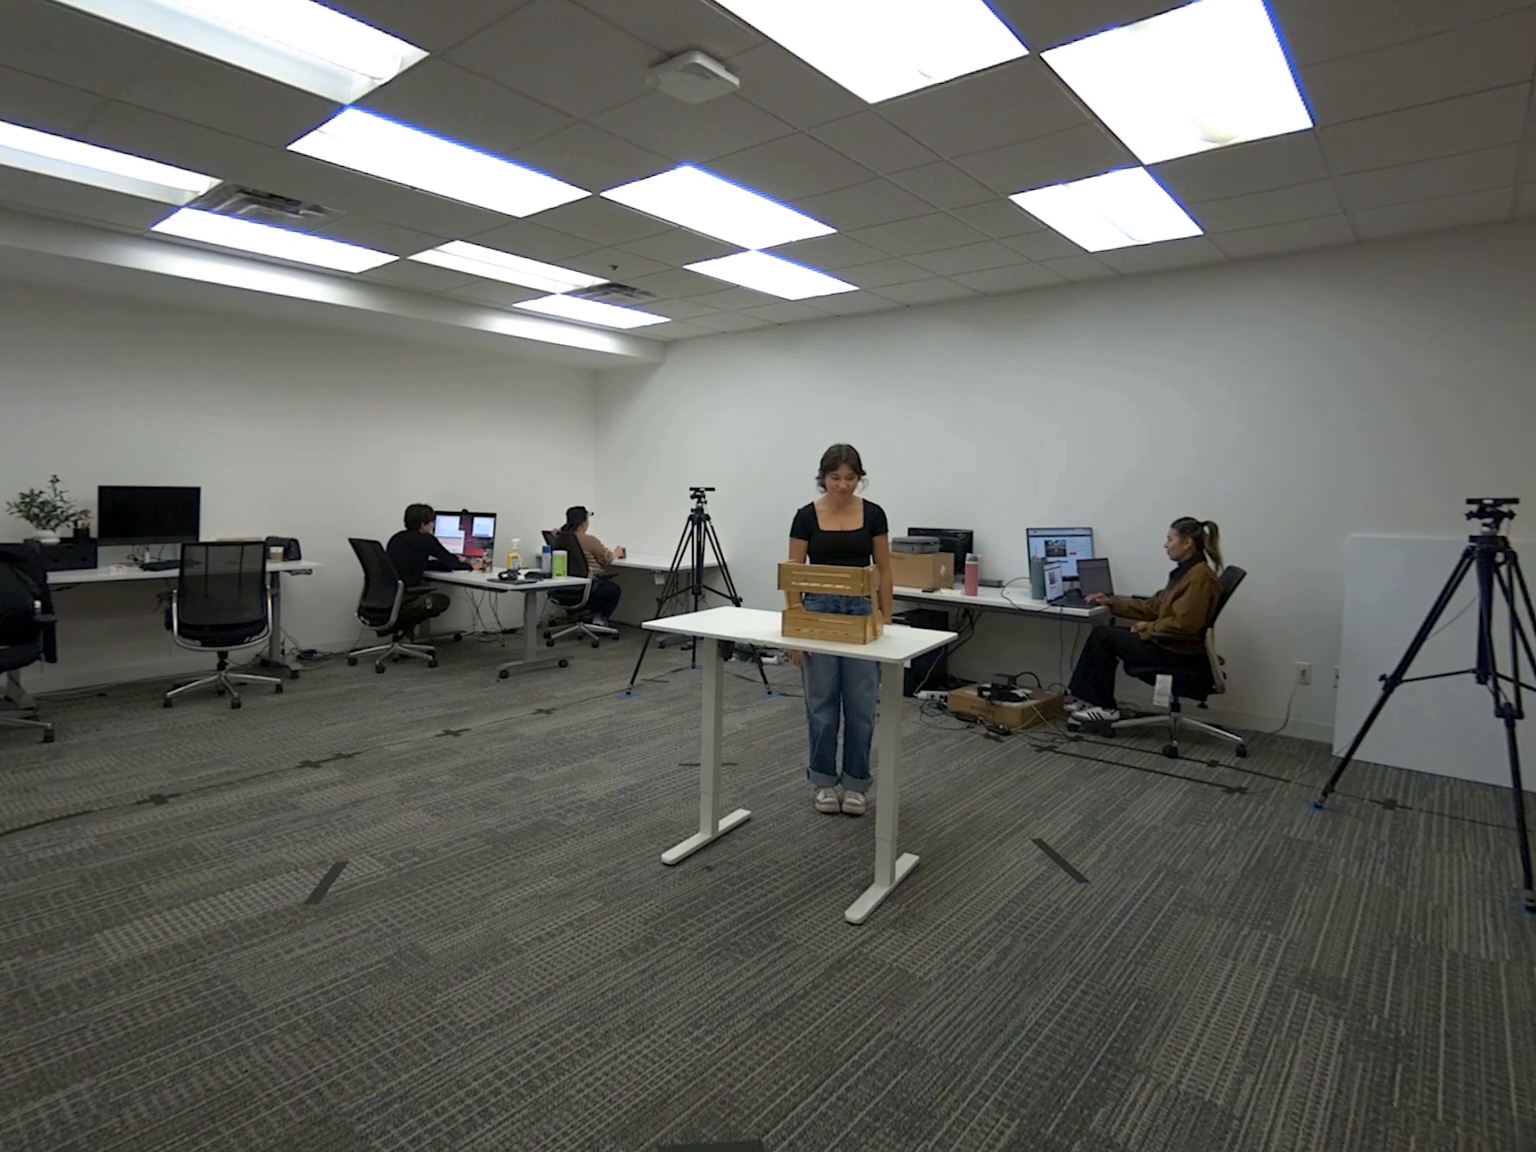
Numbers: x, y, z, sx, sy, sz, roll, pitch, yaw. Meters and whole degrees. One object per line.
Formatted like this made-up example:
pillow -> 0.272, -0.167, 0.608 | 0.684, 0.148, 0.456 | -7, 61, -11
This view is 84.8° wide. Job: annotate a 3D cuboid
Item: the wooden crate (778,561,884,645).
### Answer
wooden crate -> 0.218, 0.075, 2.974 | 0.332, 0.272, 0.296 | 3, 6, 22
